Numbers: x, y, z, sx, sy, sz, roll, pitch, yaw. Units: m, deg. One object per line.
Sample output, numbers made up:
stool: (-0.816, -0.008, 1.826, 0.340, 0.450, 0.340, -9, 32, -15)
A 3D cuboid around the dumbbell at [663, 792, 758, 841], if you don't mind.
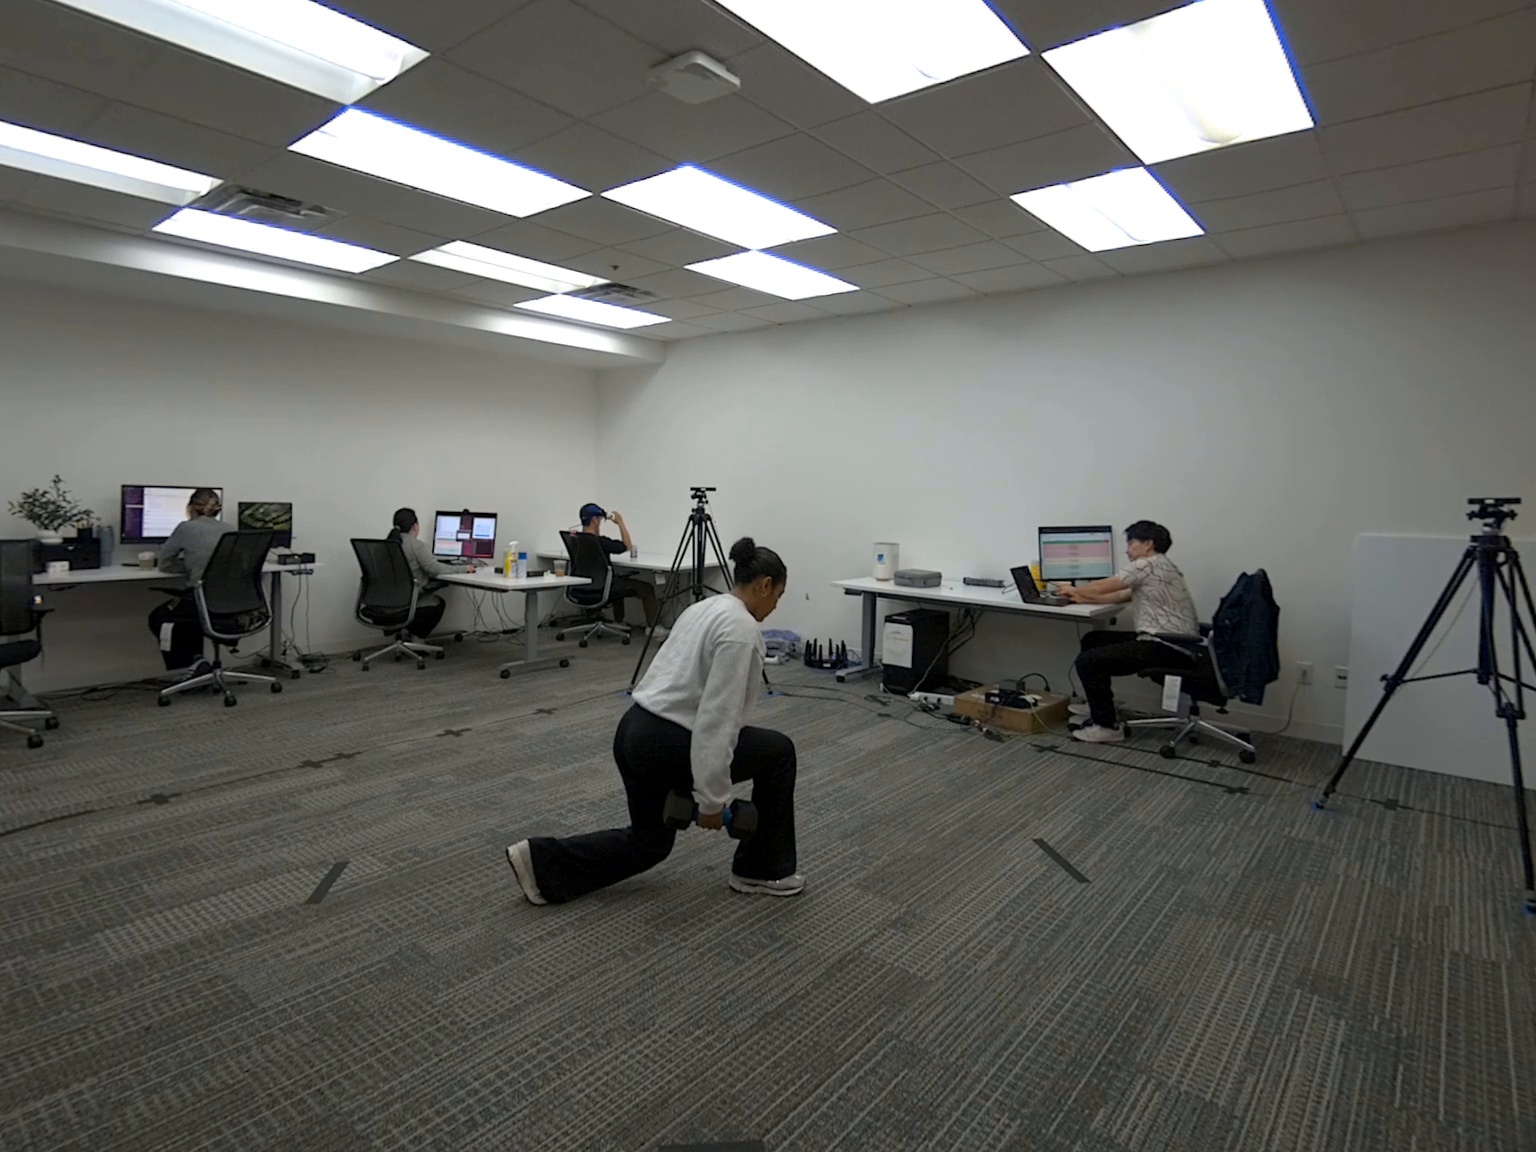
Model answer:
dumbbell: (-0.190, 0.754, 2.722, 0.289, 0.125, 0.109, 13, -20, -13)
